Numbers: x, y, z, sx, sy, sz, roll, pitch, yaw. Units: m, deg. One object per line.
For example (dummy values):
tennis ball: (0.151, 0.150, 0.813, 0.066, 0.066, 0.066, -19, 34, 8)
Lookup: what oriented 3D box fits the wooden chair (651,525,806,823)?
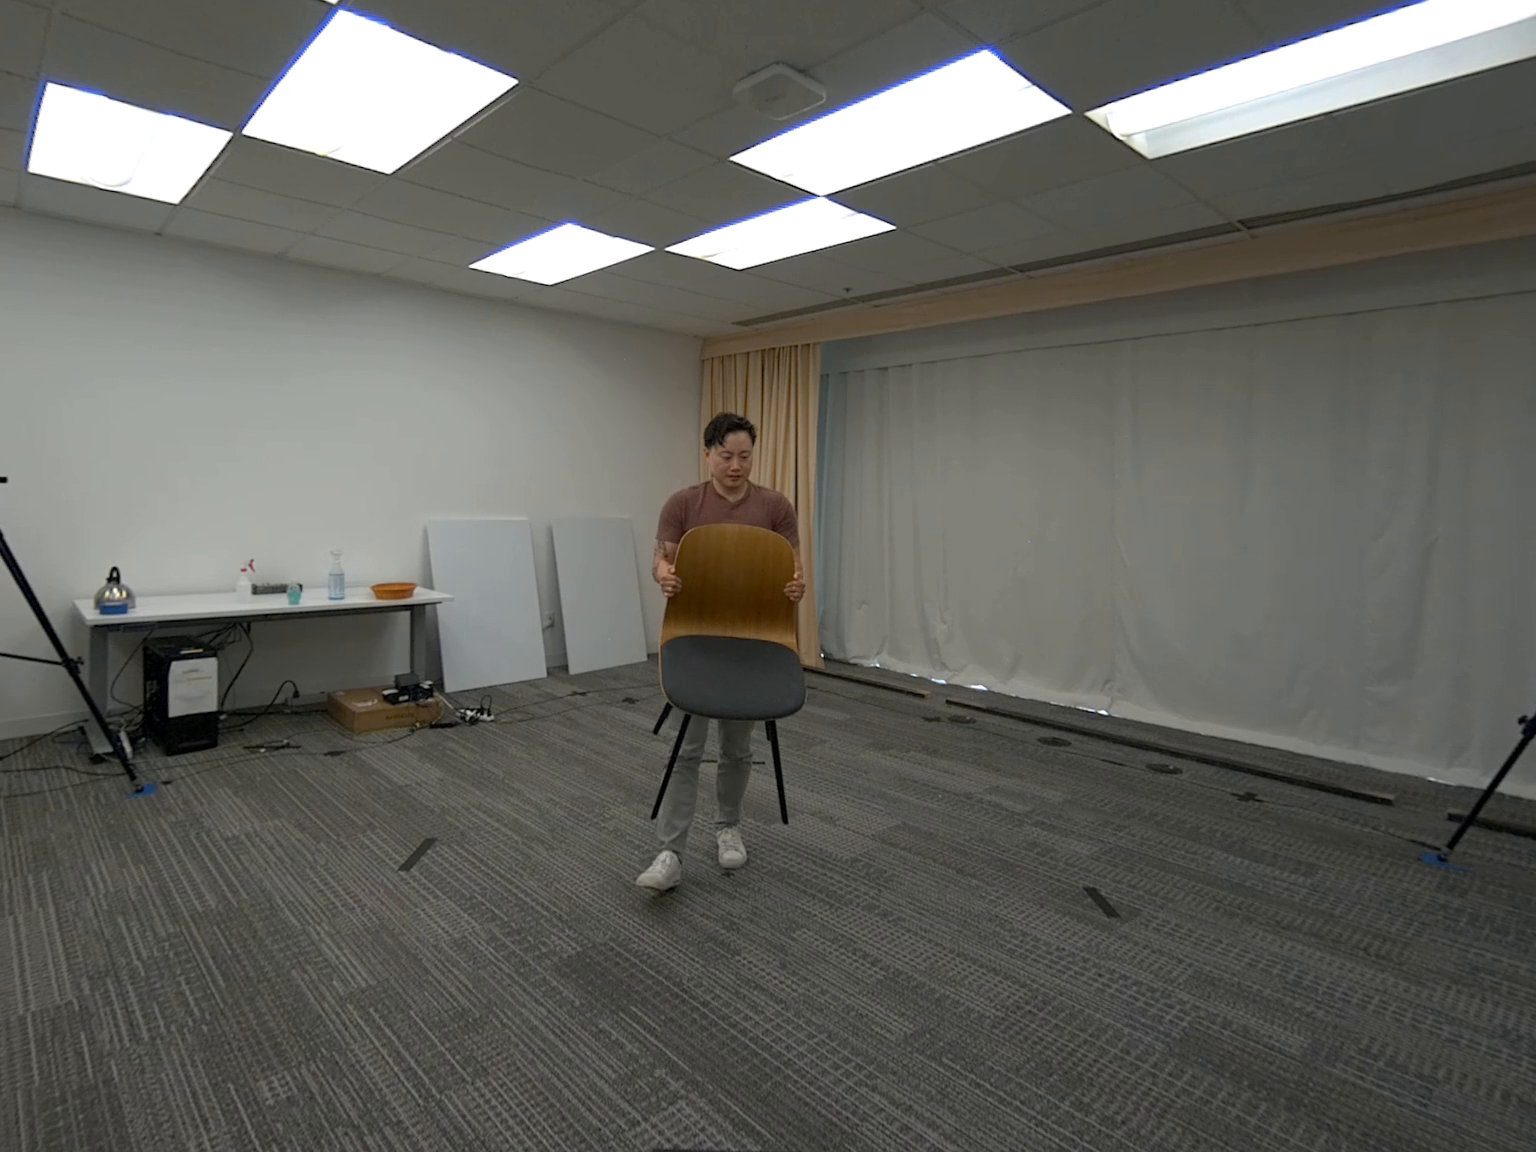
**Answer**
wooden chair: (-0.126, 0.334, 2.769, 0.475, 0.867, 0.532, 5, 20, -8)
